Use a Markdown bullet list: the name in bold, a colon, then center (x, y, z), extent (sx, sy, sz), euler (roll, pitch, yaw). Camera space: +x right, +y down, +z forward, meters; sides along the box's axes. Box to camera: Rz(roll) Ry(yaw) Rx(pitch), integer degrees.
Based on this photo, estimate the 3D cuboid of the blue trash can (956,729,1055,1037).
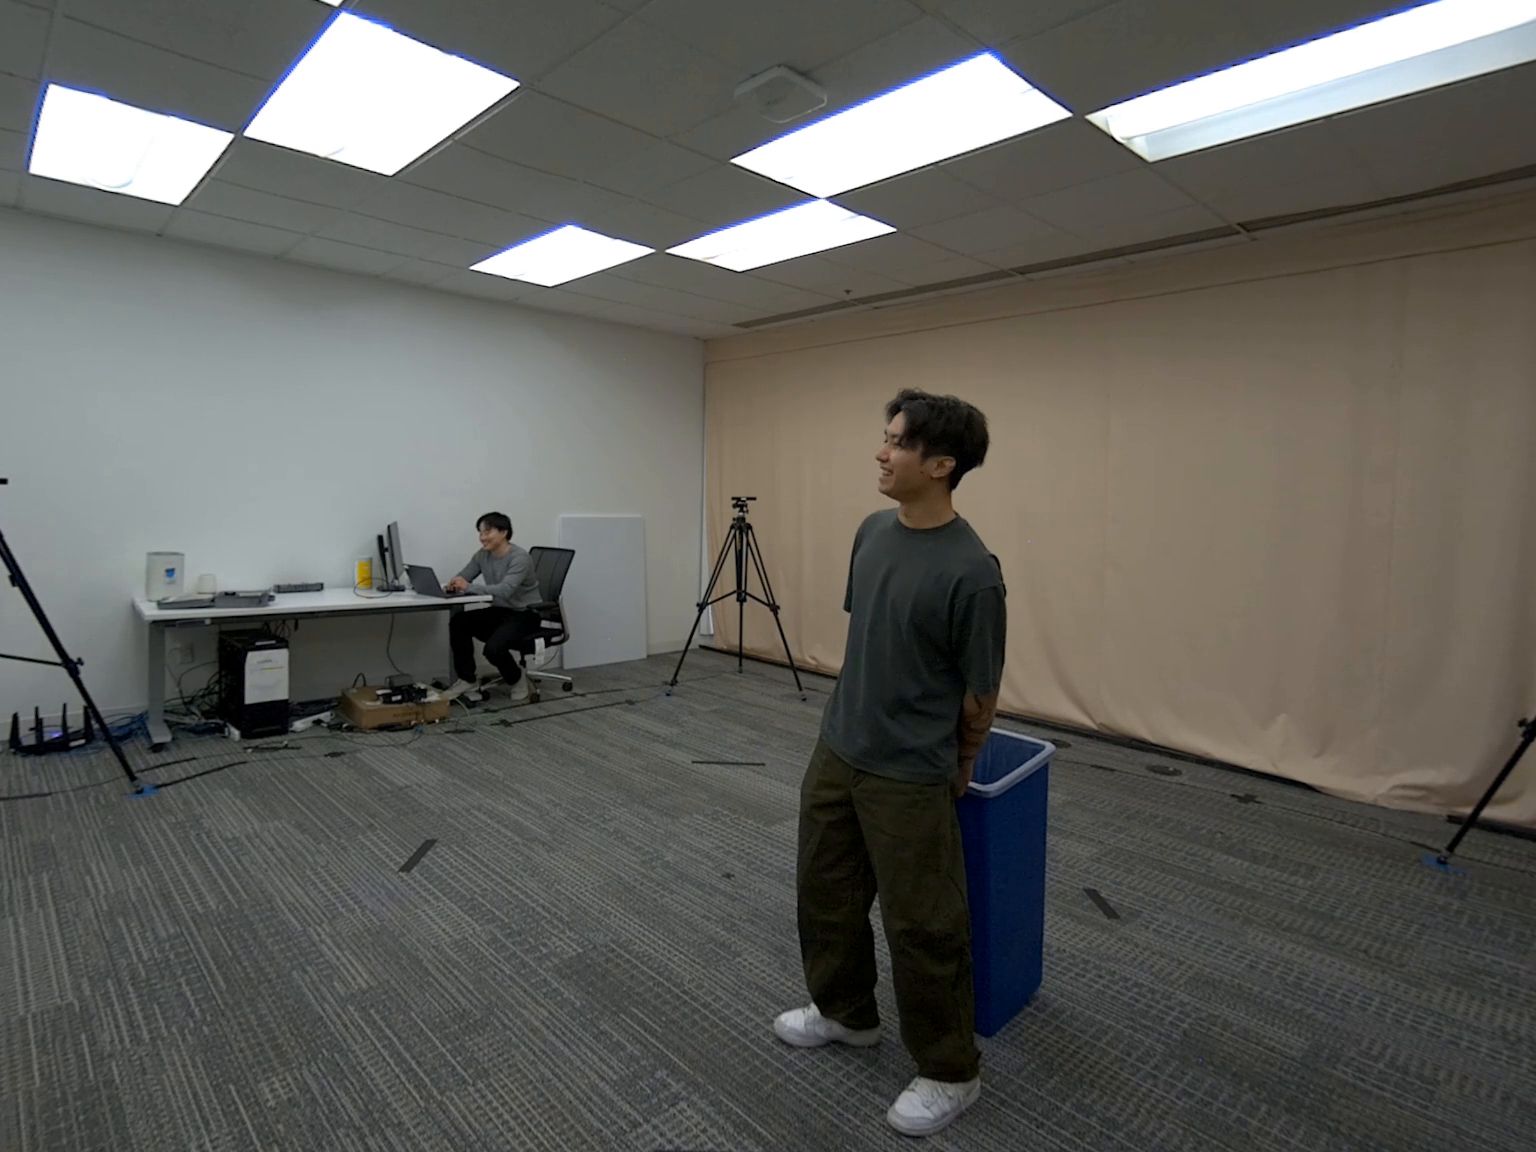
- **blue trash can**: center (0.555, 0.823, 2.342), extent (0.383, 0.708, 0.371), euler (5, 12, 45)
